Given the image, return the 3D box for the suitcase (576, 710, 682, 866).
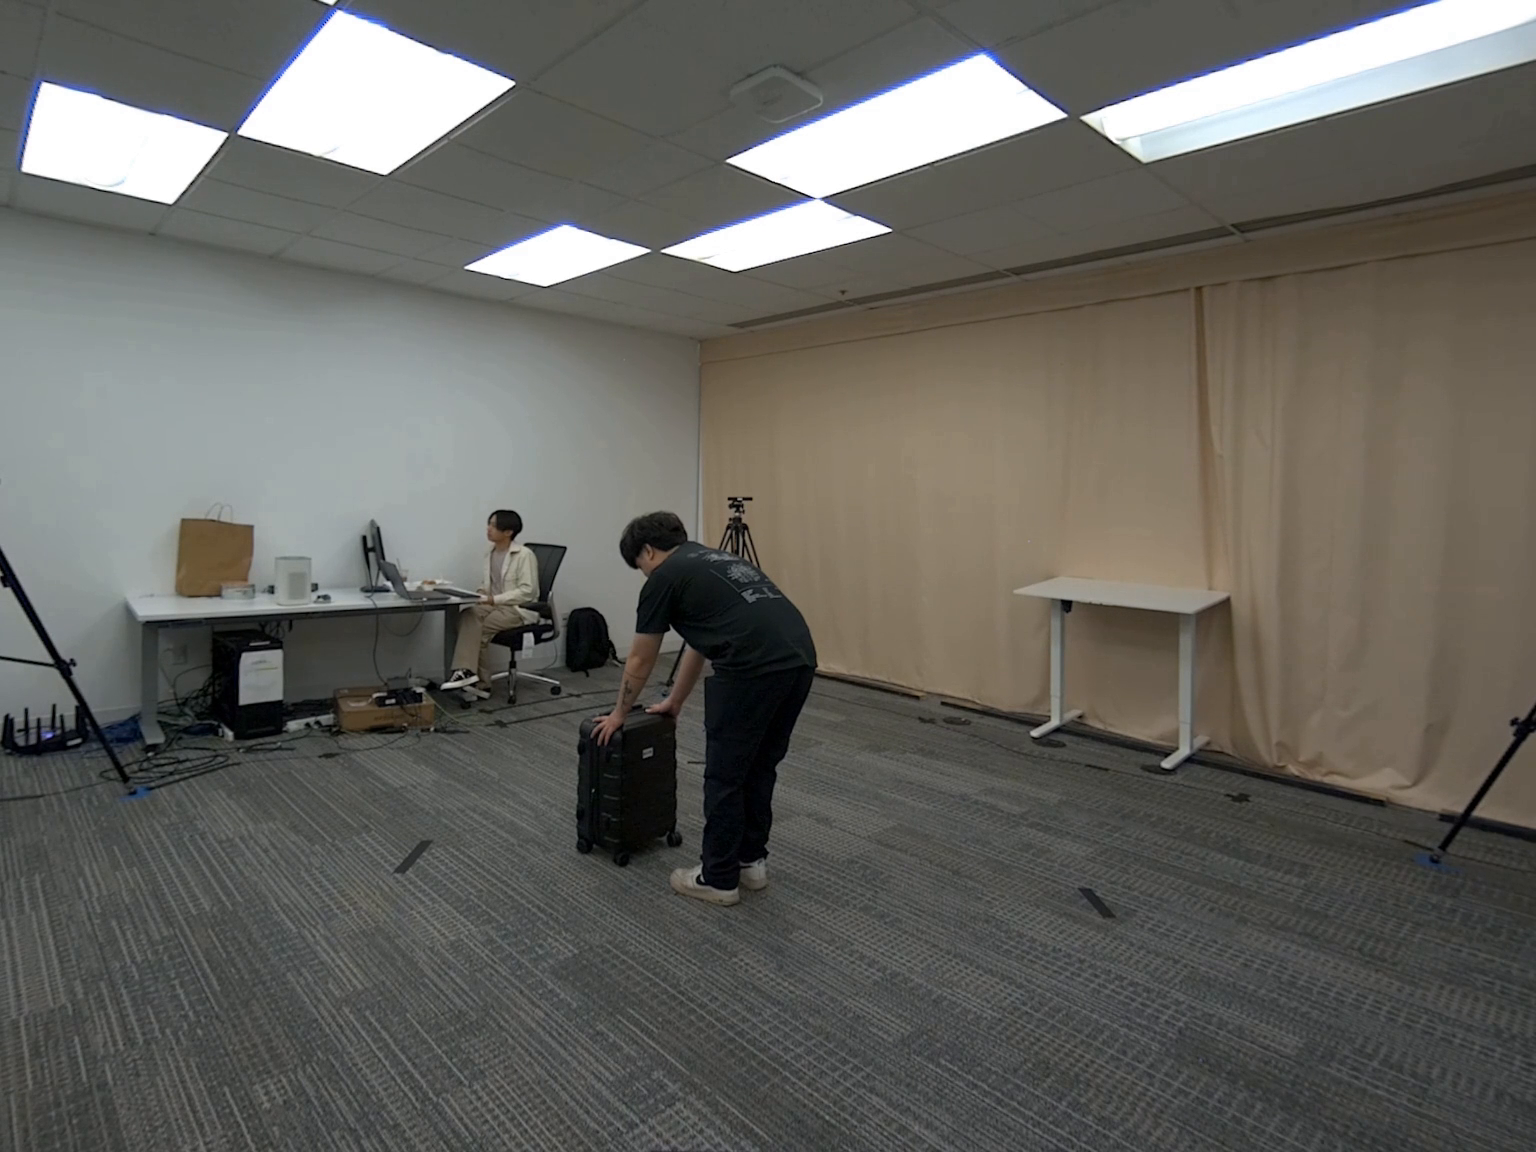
[{"bbox_3d":[-0.564,0.806,3.334,0.254,0.548,0.367,3,3,38],"label":"suitcase"}]
